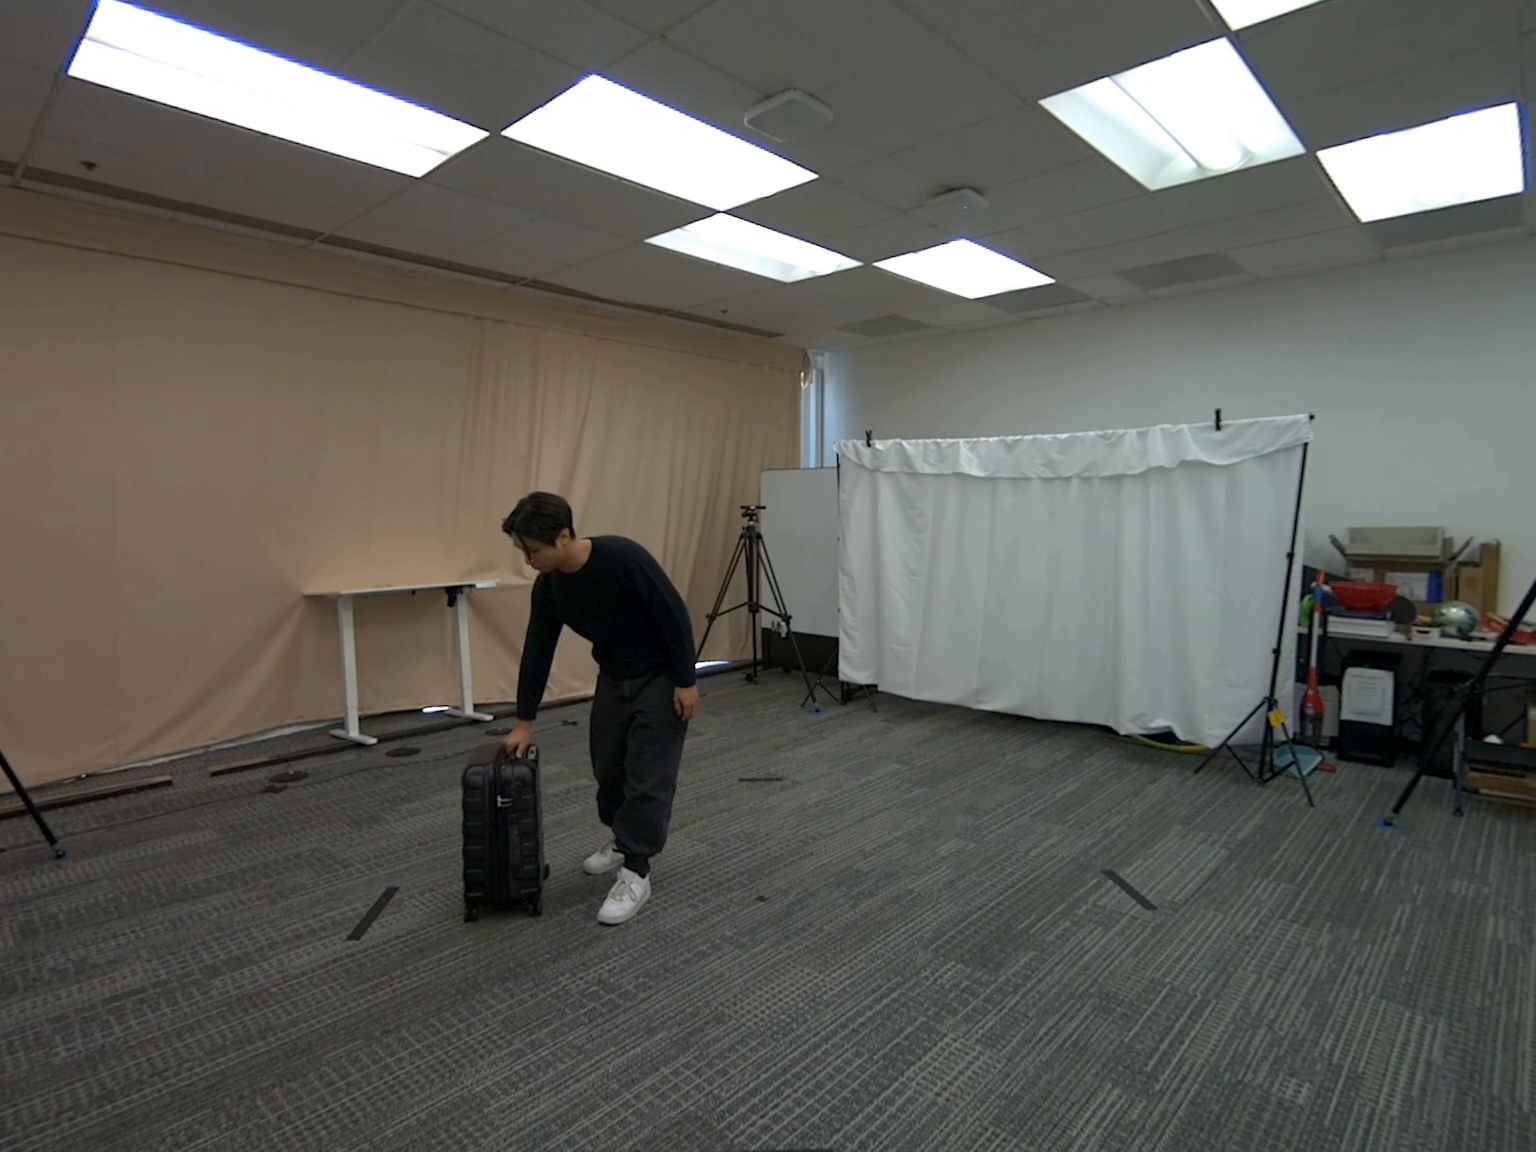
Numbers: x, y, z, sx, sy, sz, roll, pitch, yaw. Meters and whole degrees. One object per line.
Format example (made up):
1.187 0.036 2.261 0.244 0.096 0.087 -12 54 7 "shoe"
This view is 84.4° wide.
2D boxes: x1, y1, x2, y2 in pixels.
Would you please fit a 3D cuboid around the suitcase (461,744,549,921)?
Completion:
-0.929 0.877 2.969 0.245 0.548 0.381 -2 4 -11 "suitcase"
